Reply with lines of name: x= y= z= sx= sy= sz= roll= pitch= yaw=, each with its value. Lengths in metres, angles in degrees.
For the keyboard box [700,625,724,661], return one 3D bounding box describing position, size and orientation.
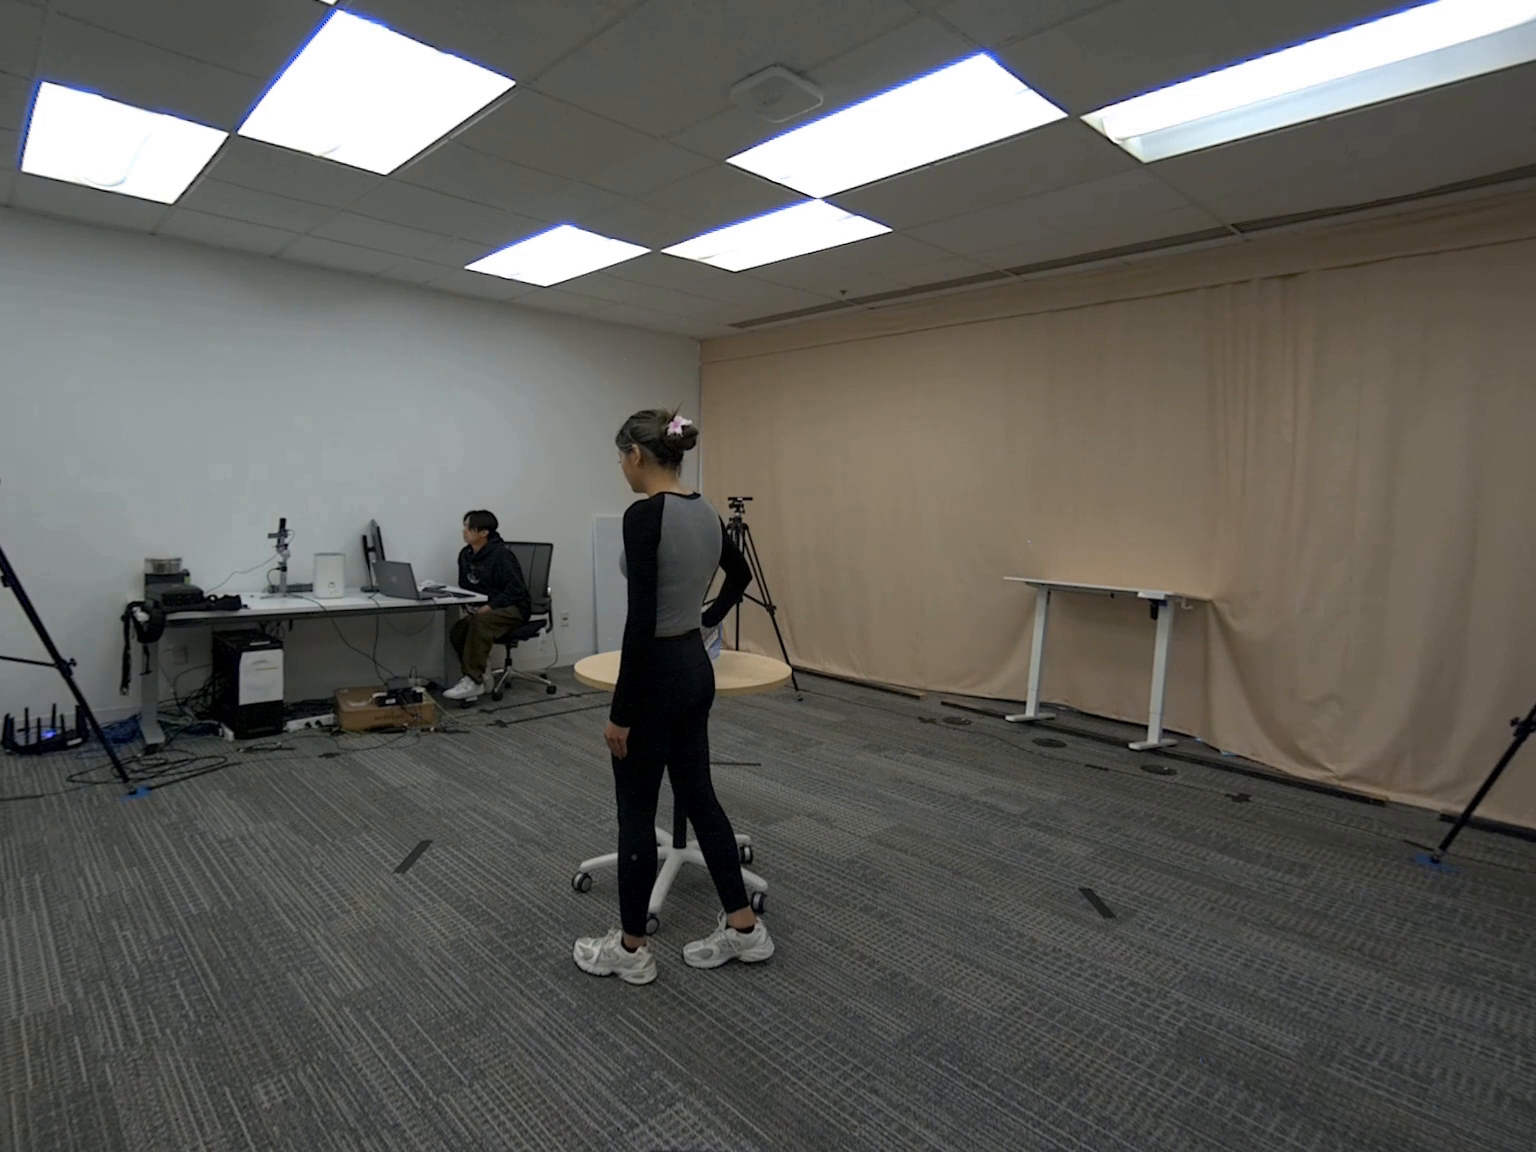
keyboard box: x=-0.253 y=0.232 z=3.022 sx=0.060 sy=0.175 sz=0.433 roll=5 pitch=5 yaw=11
